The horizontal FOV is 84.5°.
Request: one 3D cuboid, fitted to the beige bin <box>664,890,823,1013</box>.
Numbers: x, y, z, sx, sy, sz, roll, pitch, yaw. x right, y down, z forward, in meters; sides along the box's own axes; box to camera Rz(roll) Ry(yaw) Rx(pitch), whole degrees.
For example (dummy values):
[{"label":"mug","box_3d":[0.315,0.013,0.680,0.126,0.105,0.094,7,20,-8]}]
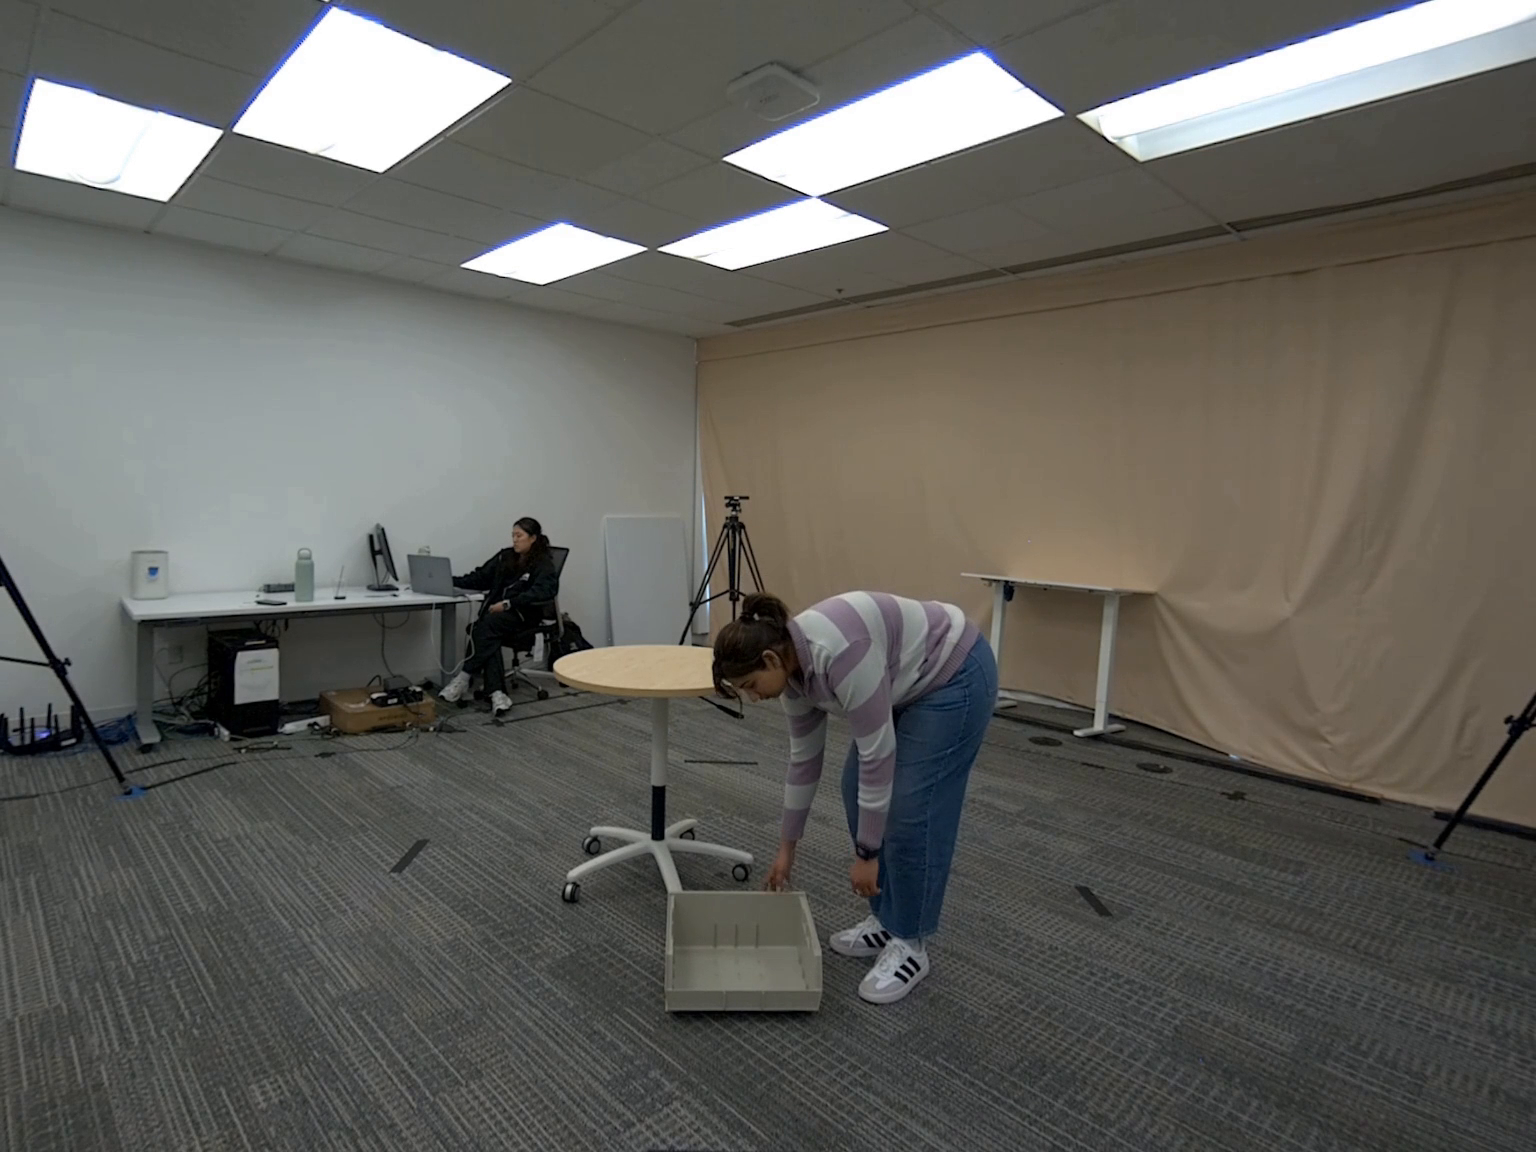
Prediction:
[{"label":"beige bin","box_3d":[-0.081,1.074,2.409,0.421,0.188,0.379,0,3,-5]}]
